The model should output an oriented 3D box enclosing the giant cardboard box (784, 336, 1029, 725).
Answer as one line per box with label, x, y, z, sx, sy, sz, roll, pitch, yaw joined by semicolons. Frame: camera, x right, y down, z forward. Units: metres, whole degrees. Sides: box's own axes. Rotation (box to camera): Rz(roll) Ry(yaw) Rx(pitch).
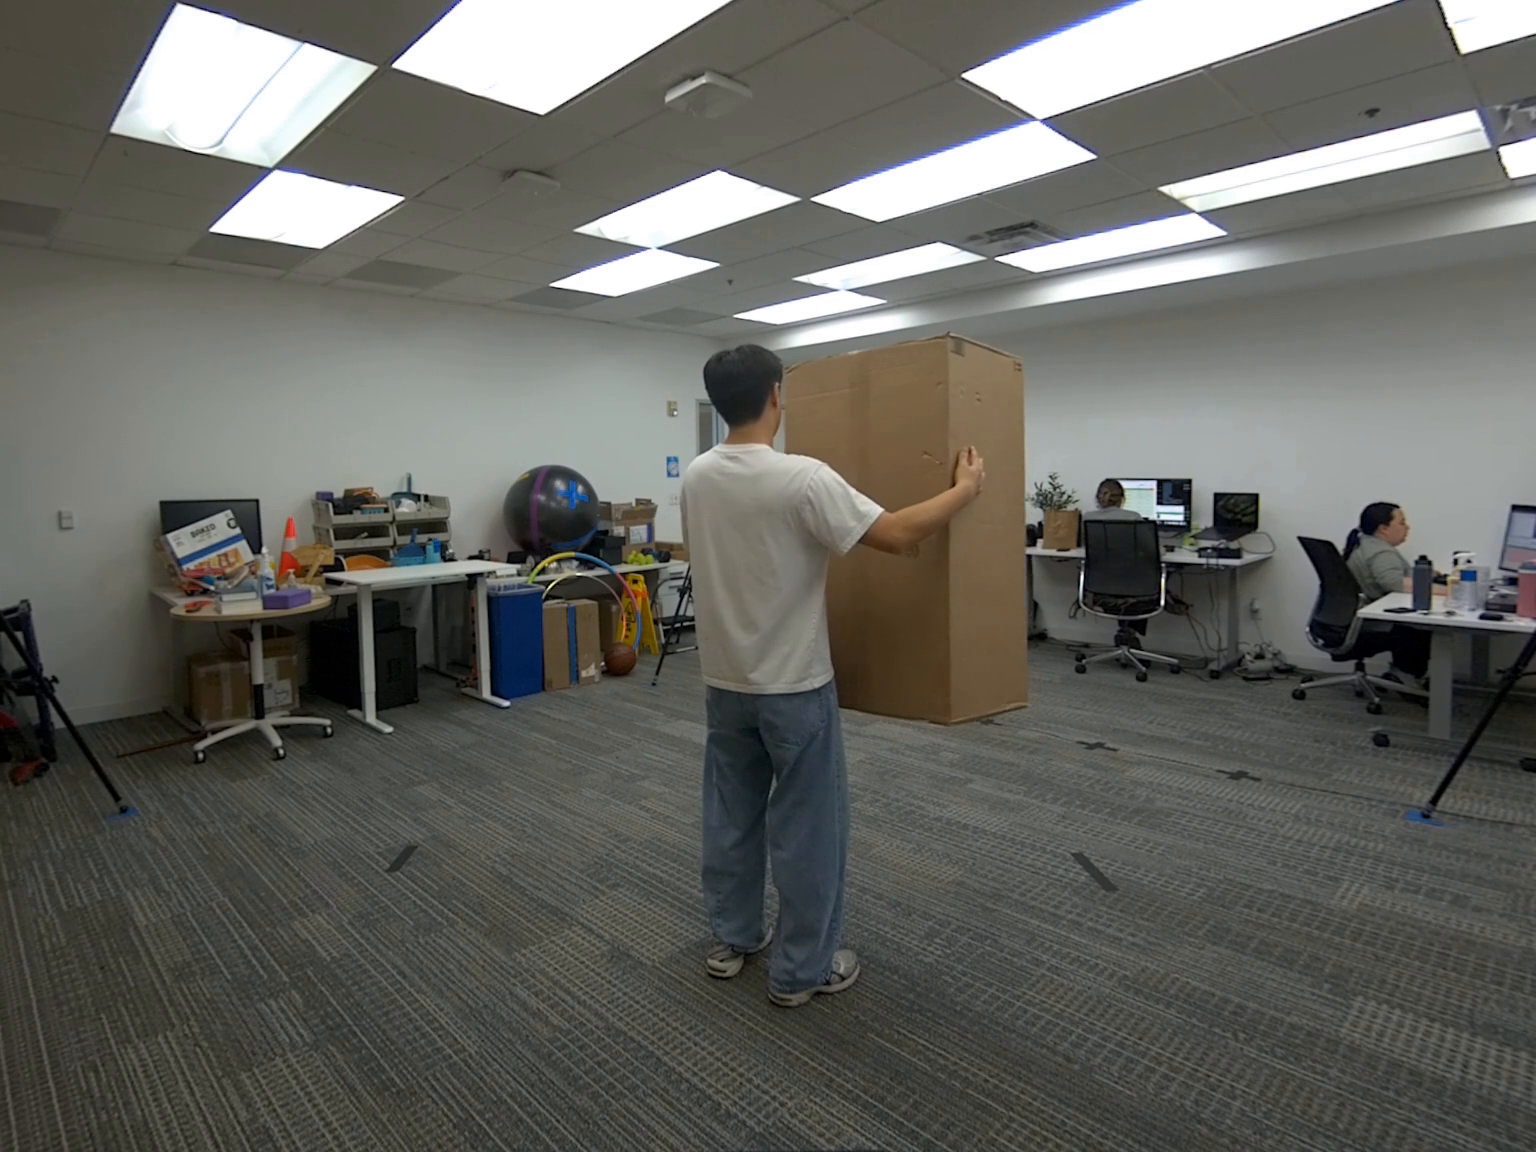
giant cardboard box;0.403;-0.129;2.558;0.594;1.028;0.413;-1;-2;44
